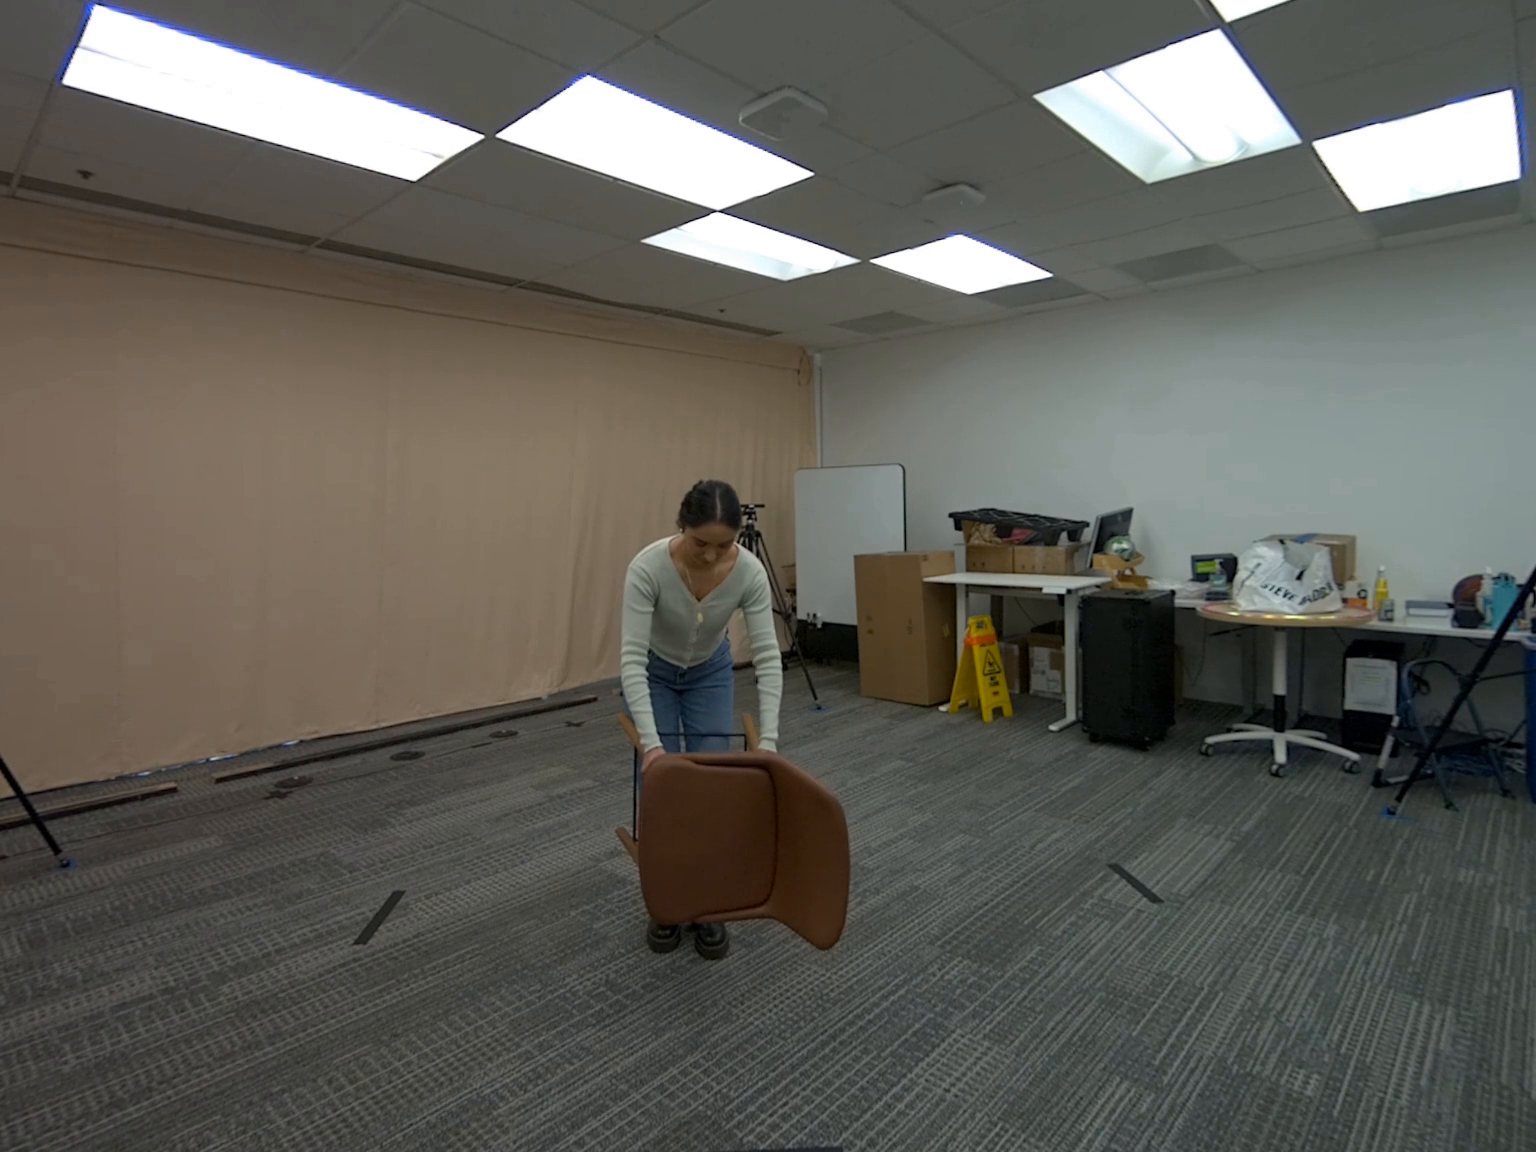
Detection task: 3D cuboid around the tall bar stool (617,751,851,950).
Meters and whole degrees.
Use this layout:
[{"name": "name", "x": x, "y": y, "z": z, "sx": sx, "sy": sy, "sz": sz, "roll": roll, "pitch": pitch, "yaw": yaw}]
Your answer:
[{"name": "tall bar stool", "x": -0.152, "y": 0.687, "z": 2.413, "sx": 0.460, "sy": 0.455, "sz": 0.905, "roll": 0, "pitch": 4, "yaw": -16}]
